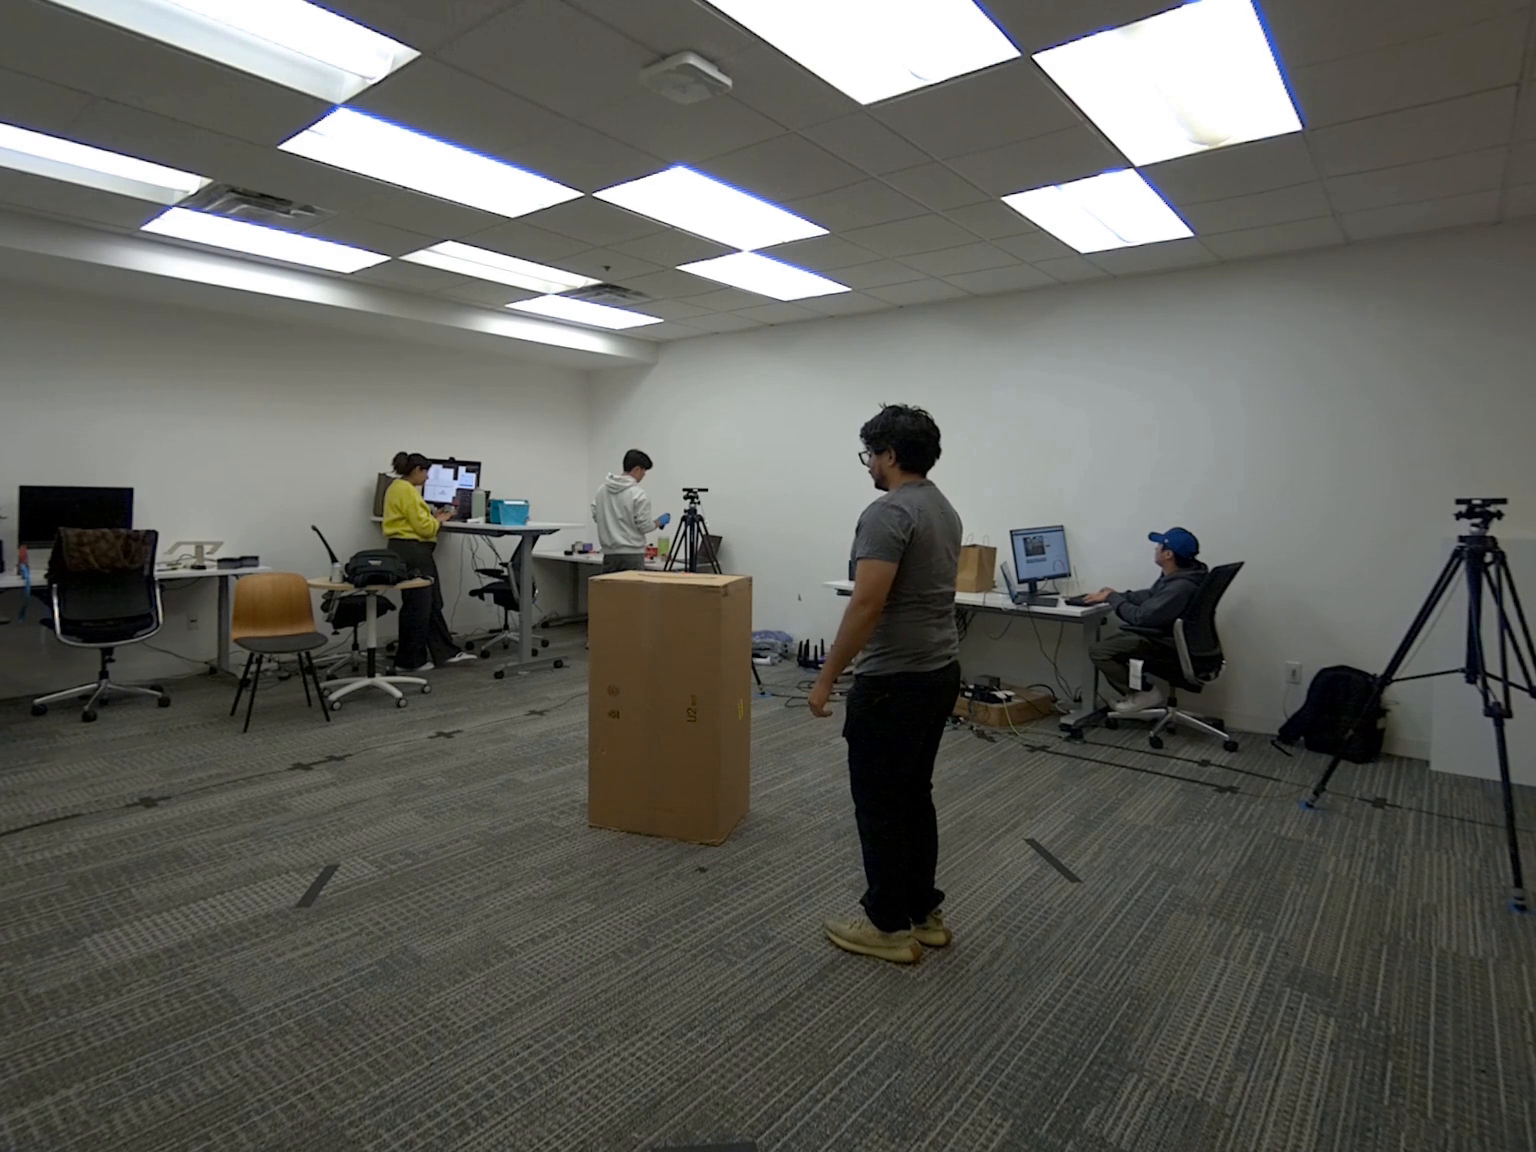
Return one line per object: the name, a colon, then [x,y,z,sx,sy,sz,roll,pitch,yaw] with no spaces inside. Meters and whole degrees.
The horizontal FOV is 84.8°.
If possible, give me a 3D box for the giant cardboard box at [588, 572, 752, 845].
giant cardboard box: [-0.415,0.512,3.580,0.590,1.023,0.418,2,3,19]
